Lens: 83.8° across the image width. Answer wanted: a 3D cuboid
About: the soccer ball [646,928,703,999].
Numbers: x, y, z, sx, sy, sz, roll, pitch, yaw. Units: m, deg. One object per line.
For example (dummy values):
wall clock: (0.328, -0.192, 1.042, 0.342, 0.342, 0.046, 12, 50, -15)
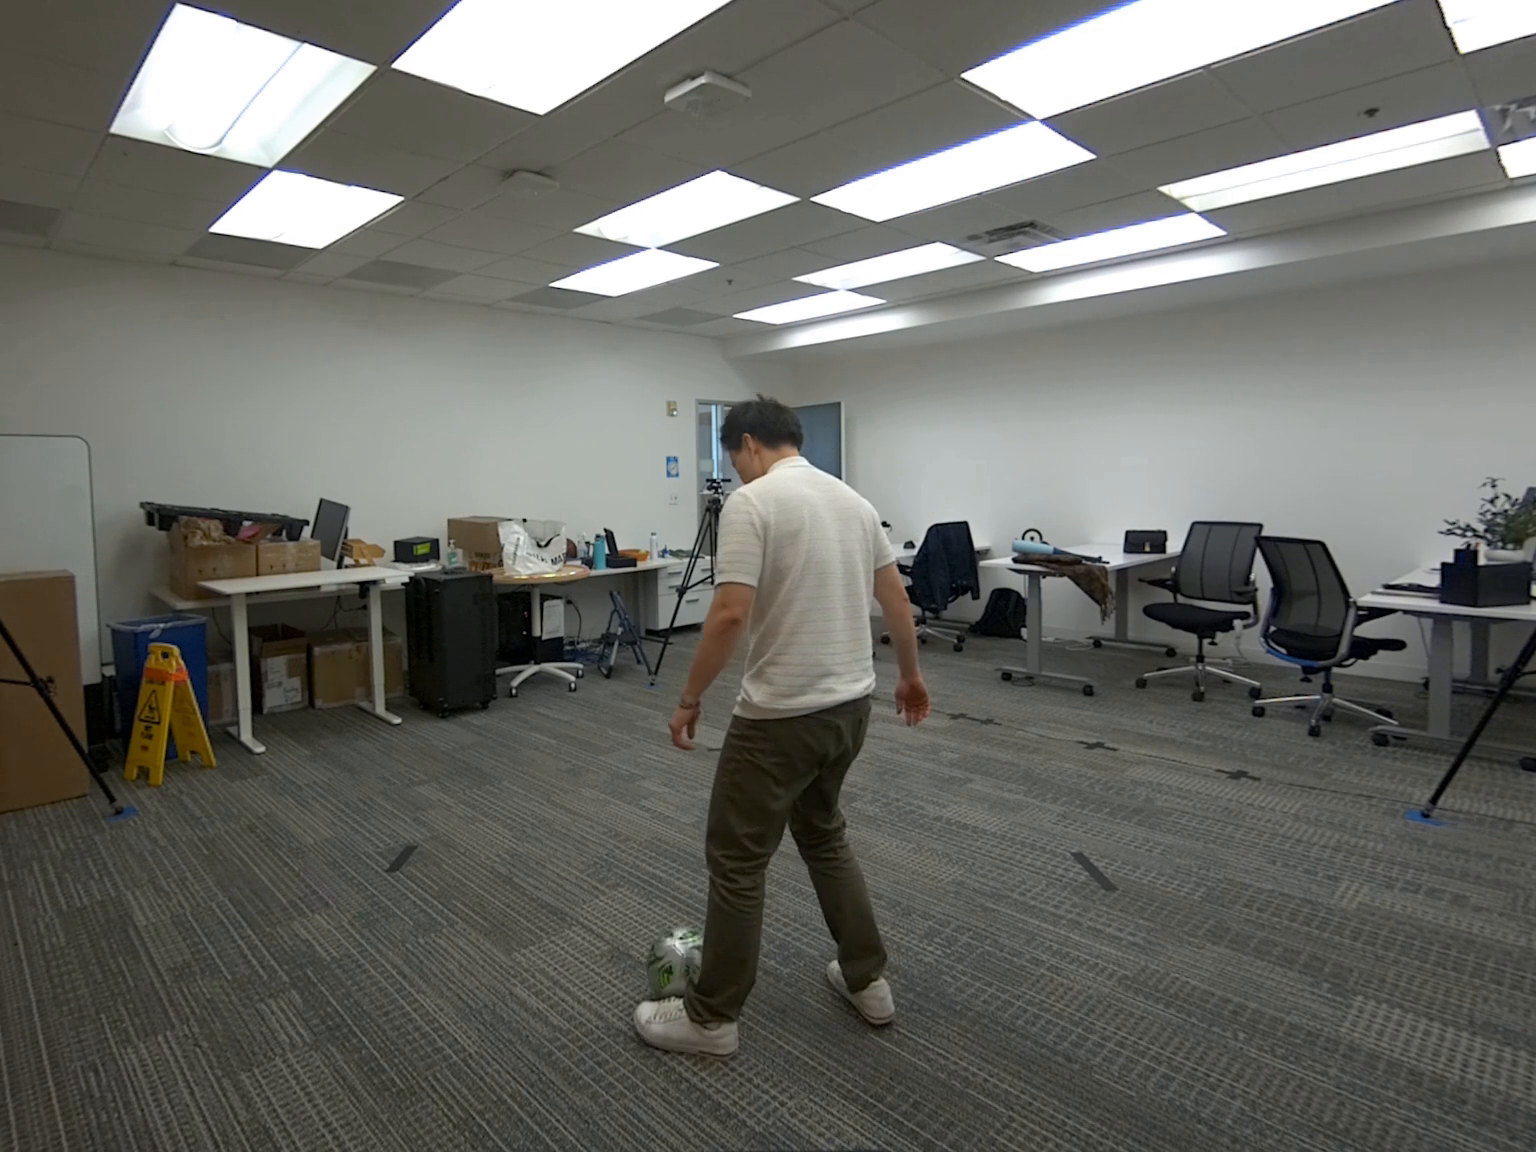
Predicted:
soccer ball: (-0.225, 1.056, 2.298, 0.187, 0.187, 0.188, -1, 5, -2)
